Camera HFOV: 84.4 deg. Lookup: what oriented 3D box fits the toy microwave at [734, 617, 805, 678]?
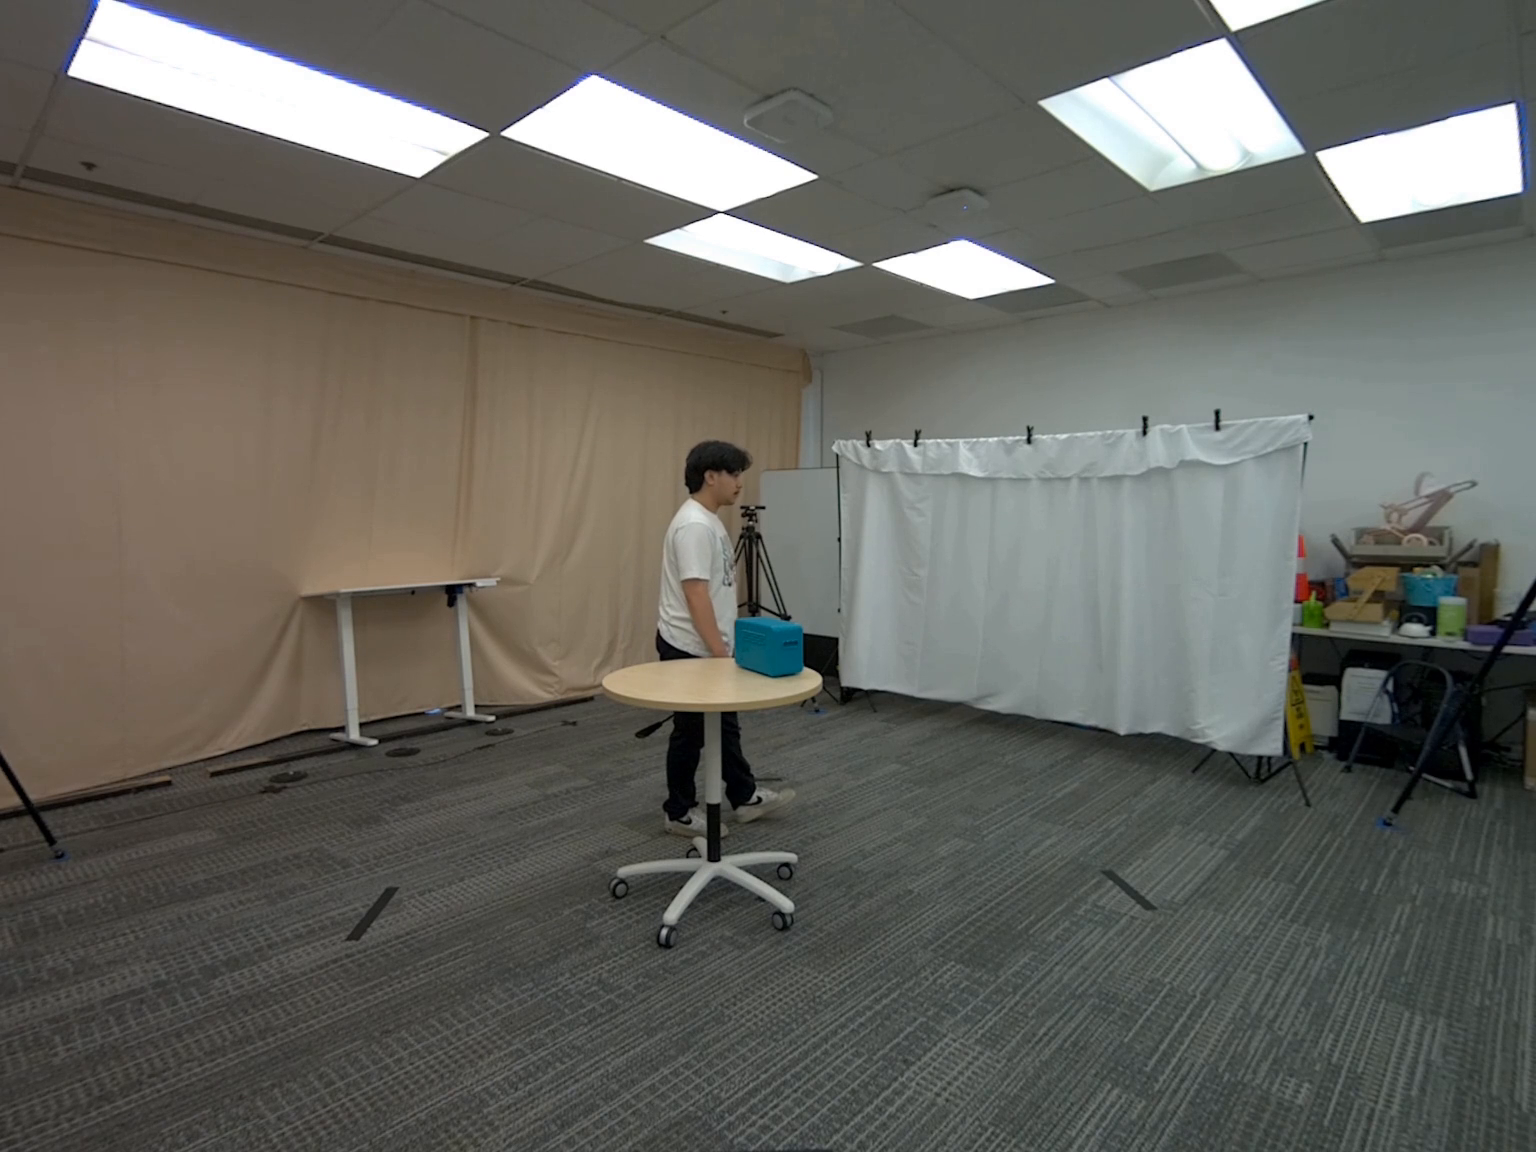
[{"bbox_3d":[0.013,0.253,3.061,0.148,0.184,0.294,-2,4,-31],"label":"toy microwave"}]
